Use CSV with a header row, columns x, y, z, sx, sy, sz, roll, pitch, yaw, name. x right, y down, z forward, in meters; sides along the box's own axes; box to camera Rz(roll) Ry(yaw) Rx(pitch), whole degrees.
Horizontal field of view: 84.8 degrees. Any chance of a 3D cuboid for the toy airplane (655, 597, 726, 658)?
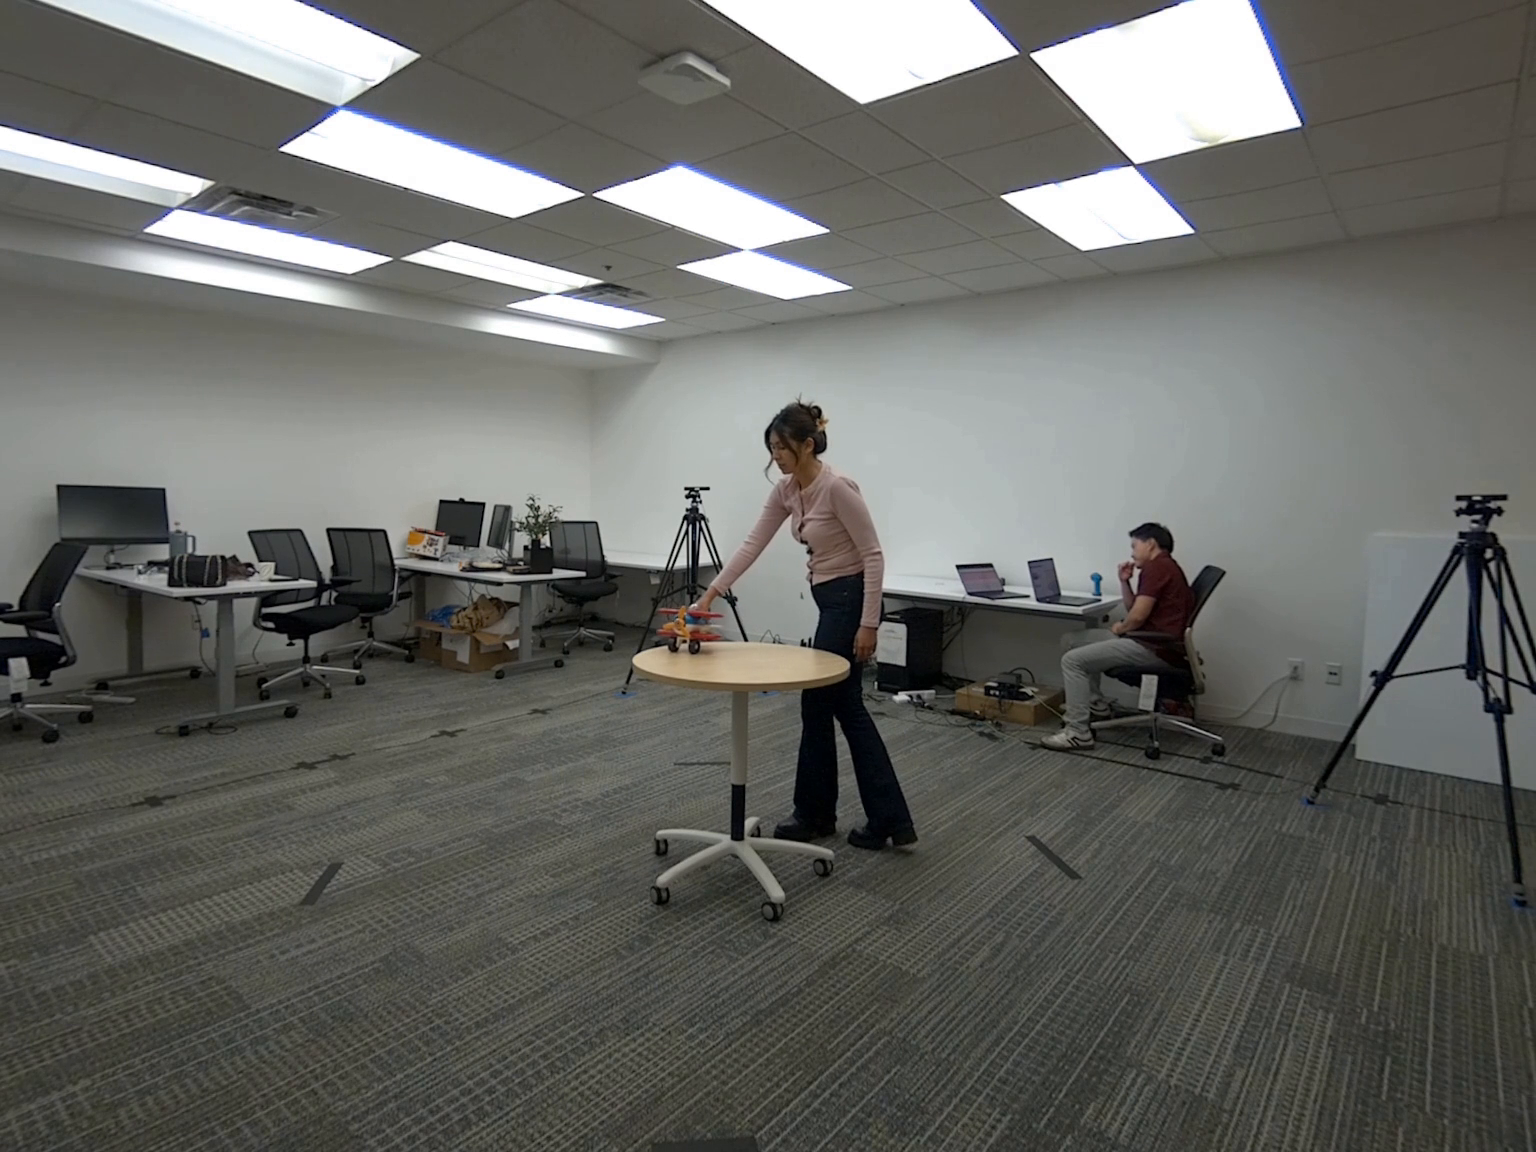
x,y,z,sx,sy,sz,roll,pitch,yaw,name
-0.299,0.190,3.199,0.250,0.155,0.262,-2,10,-4,toy airplane
